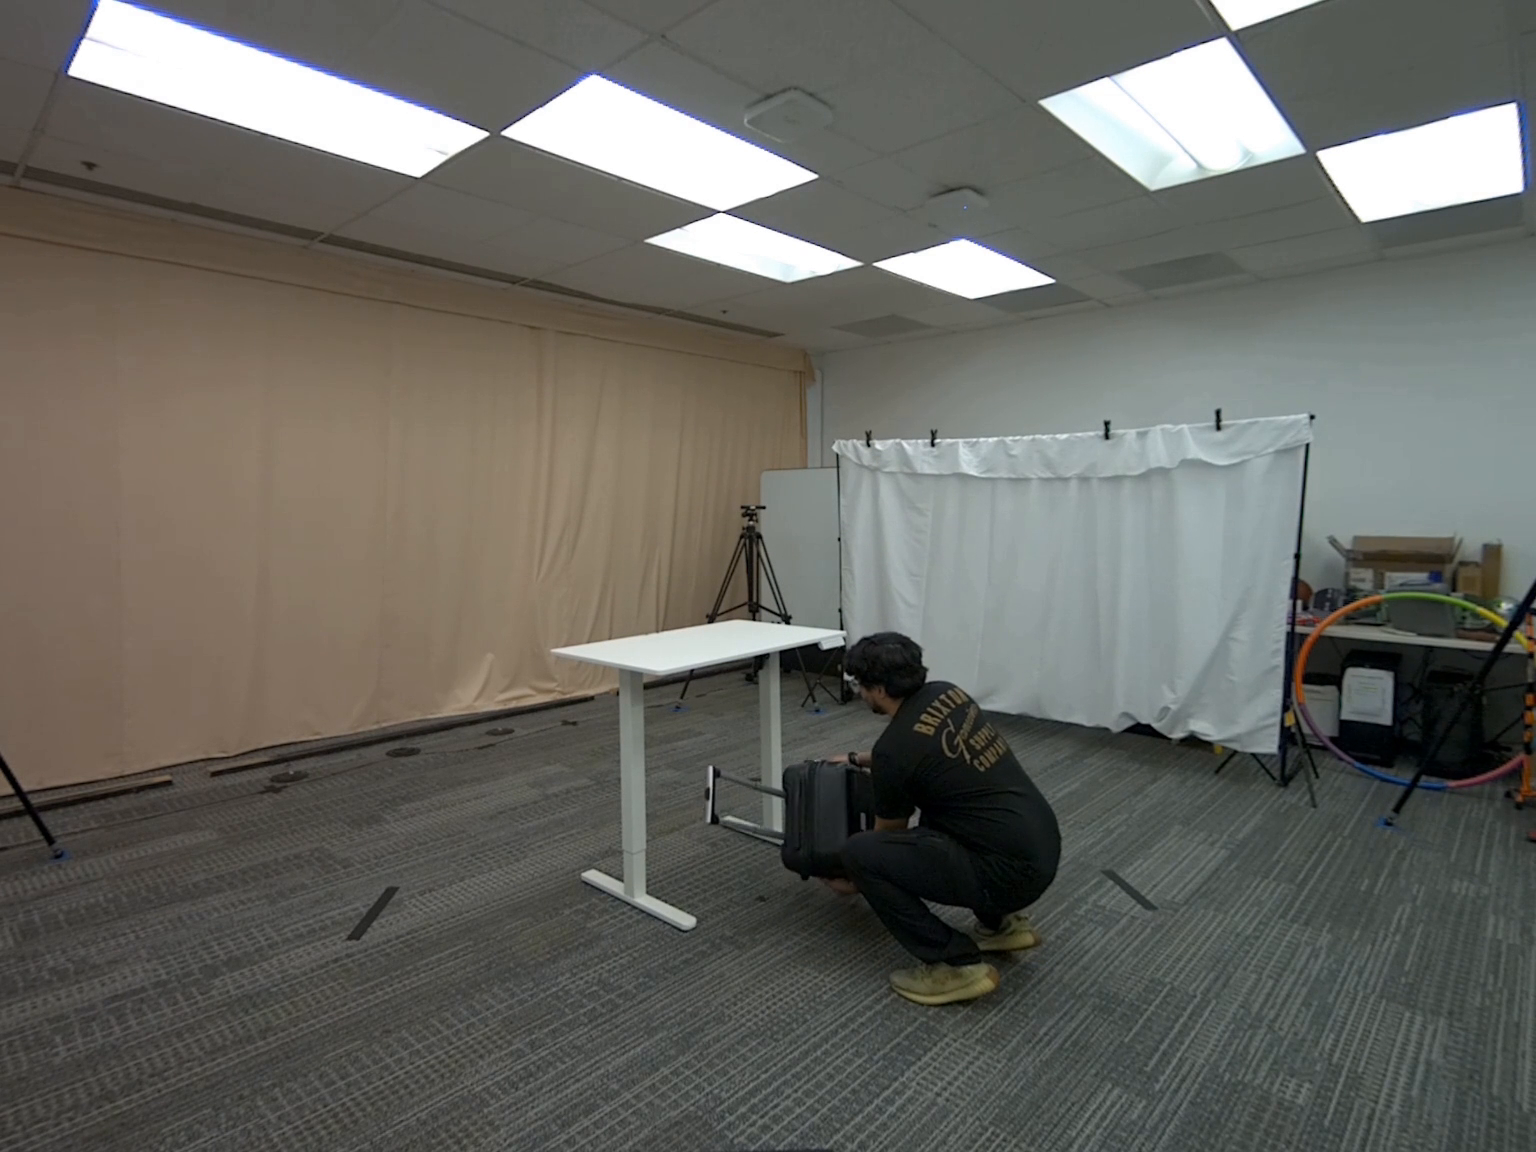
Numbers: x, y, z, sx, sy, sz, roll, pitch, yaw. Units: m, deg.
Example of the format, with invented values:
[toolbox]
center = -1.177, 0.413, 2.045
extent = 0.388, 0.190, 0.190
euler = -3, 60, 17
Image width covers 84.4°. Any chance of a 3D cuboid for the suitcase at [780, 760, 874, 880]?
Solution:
[suitcase]
center = 0.168, 0.775, 2.712
extent = 0.263, 0.389, 0.944
euler = -10, -28, 27
